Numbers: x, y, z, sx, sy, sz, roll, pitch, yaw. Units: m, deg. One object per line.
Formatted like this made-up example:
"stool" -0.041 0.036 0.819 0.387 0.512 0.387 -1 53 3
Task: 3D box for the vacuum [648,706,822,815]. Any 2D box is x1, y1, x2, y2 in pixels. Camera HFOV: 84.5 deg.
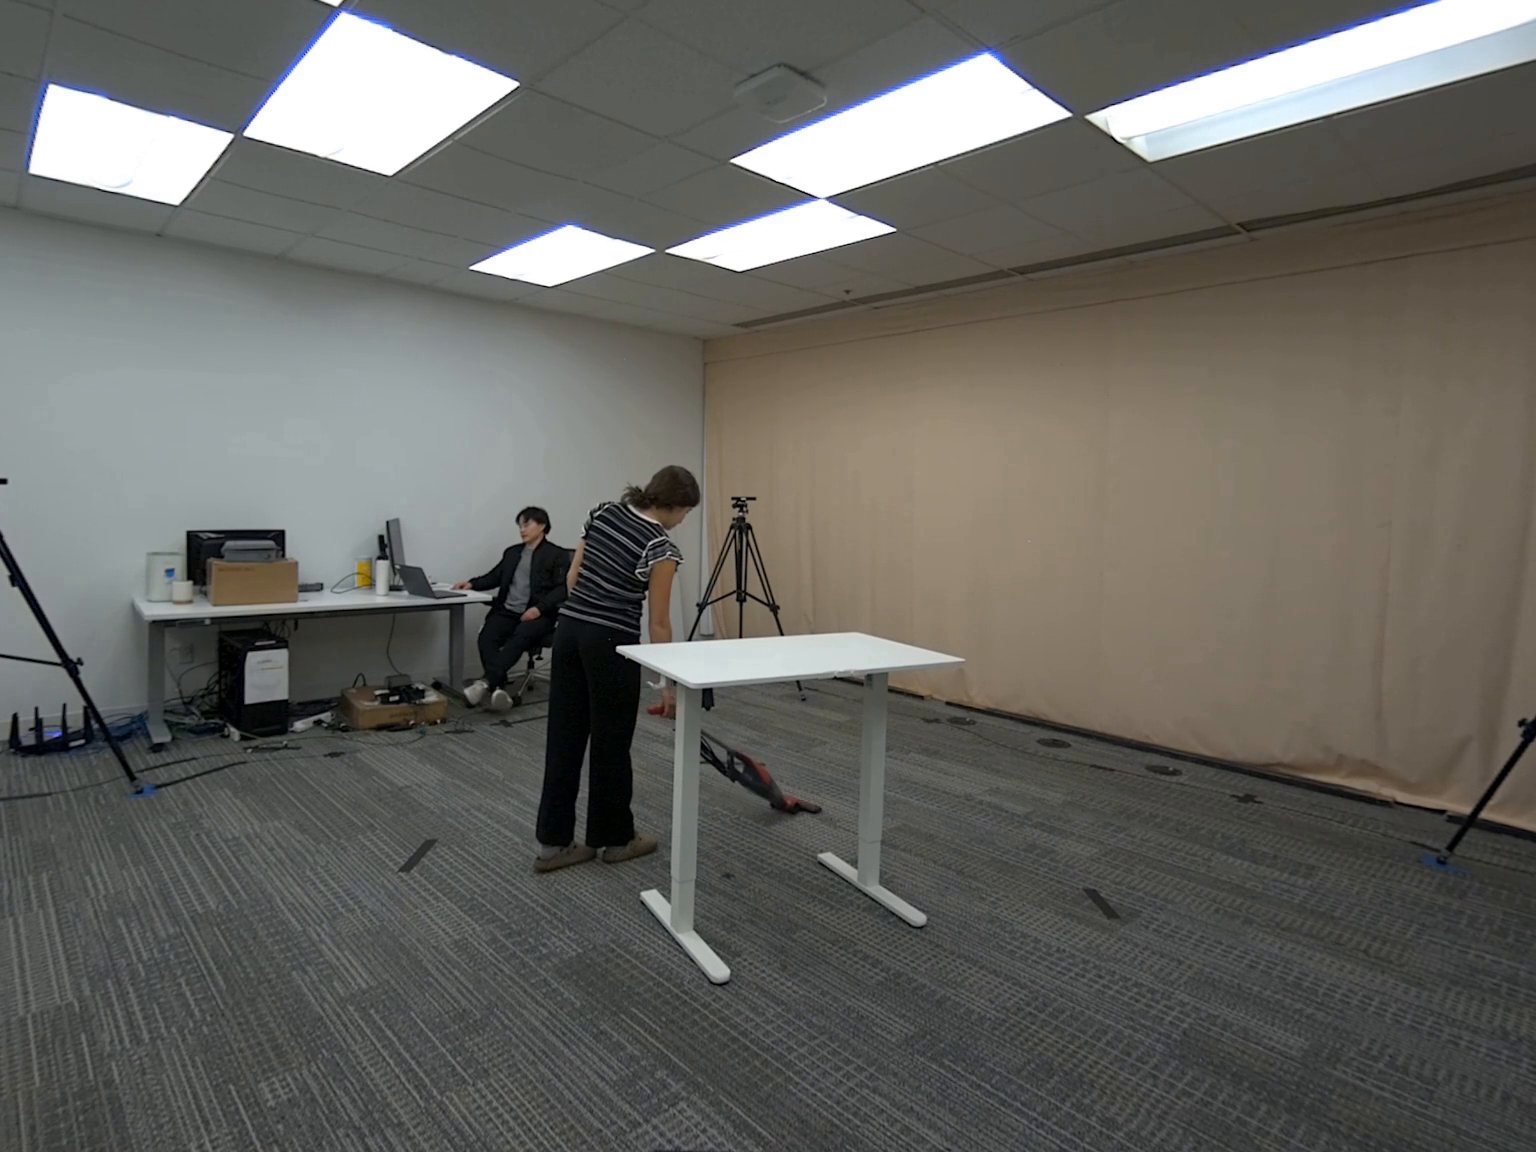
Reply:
"vacuum" -0.164 0.782 3.502 0.259 0.145 1.016 5 -28 41
